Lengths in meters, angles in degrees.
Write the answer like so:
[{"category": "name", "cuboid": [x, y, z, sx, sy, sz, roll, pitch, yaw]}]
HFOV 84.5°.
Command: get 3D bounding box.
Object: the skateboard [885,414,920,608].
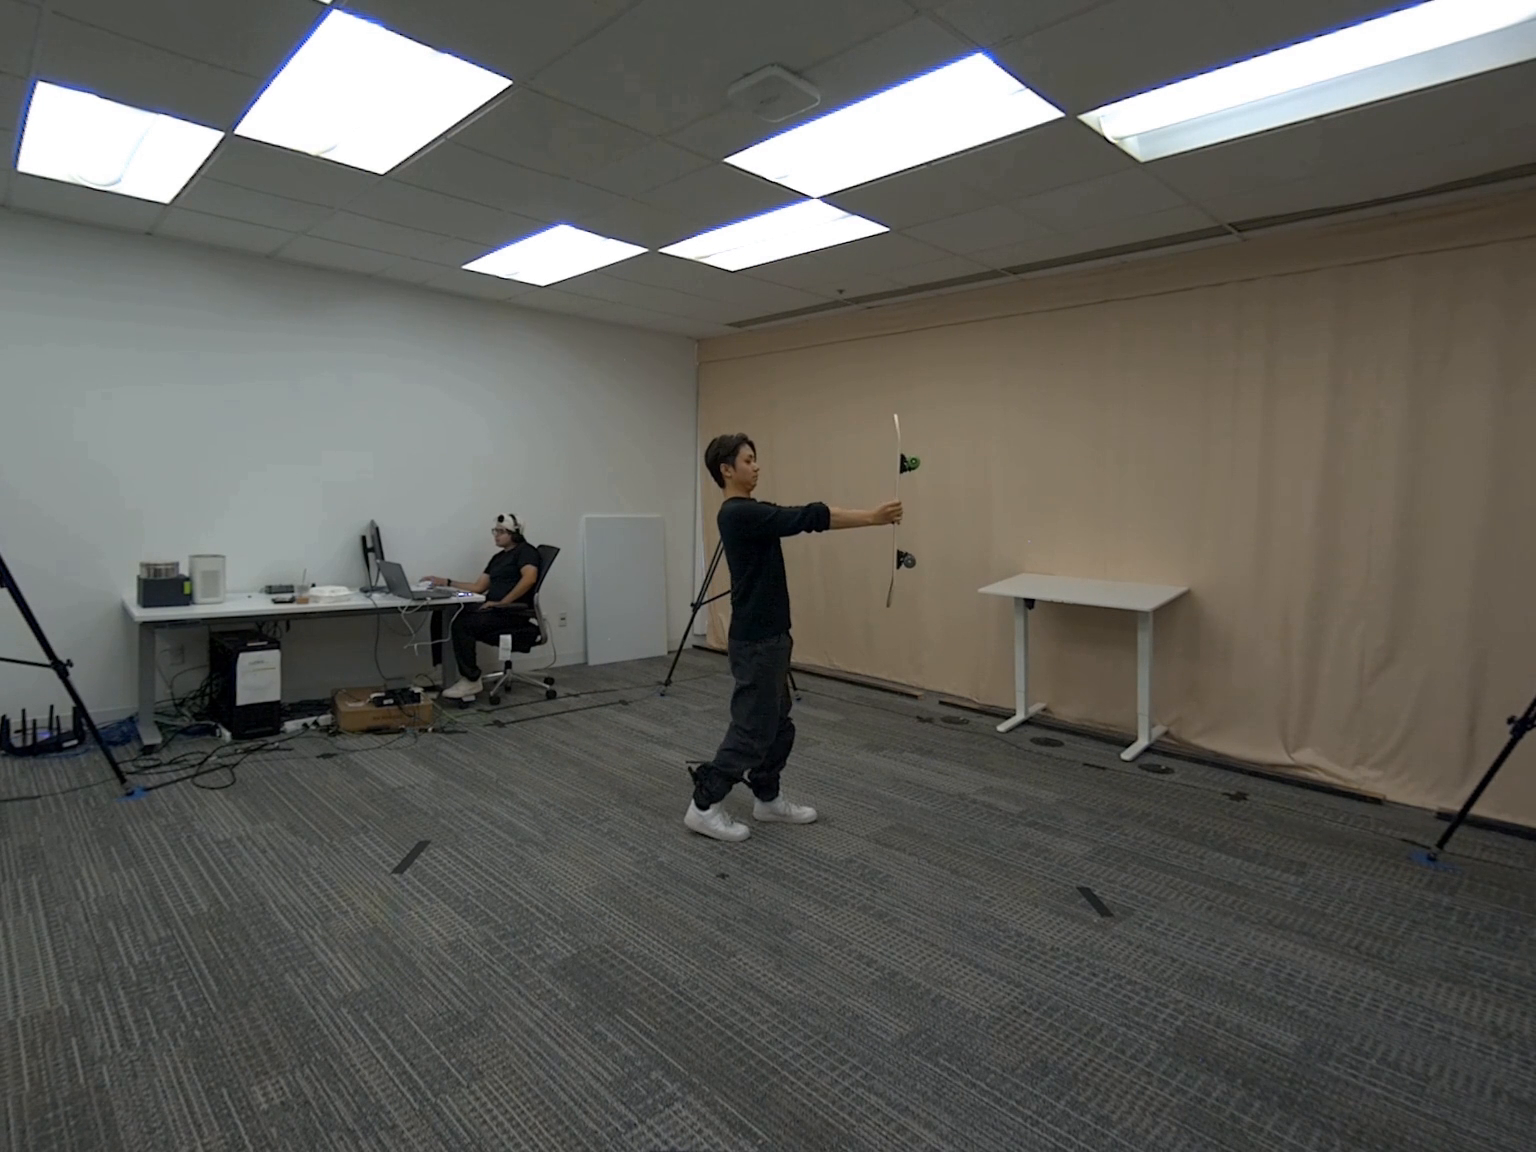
[{"category": "skateboard", "cuboid": [0.549, -0.261, 3.438, 0.111, 0.783, 0.193, 2, 4, 6]}]
